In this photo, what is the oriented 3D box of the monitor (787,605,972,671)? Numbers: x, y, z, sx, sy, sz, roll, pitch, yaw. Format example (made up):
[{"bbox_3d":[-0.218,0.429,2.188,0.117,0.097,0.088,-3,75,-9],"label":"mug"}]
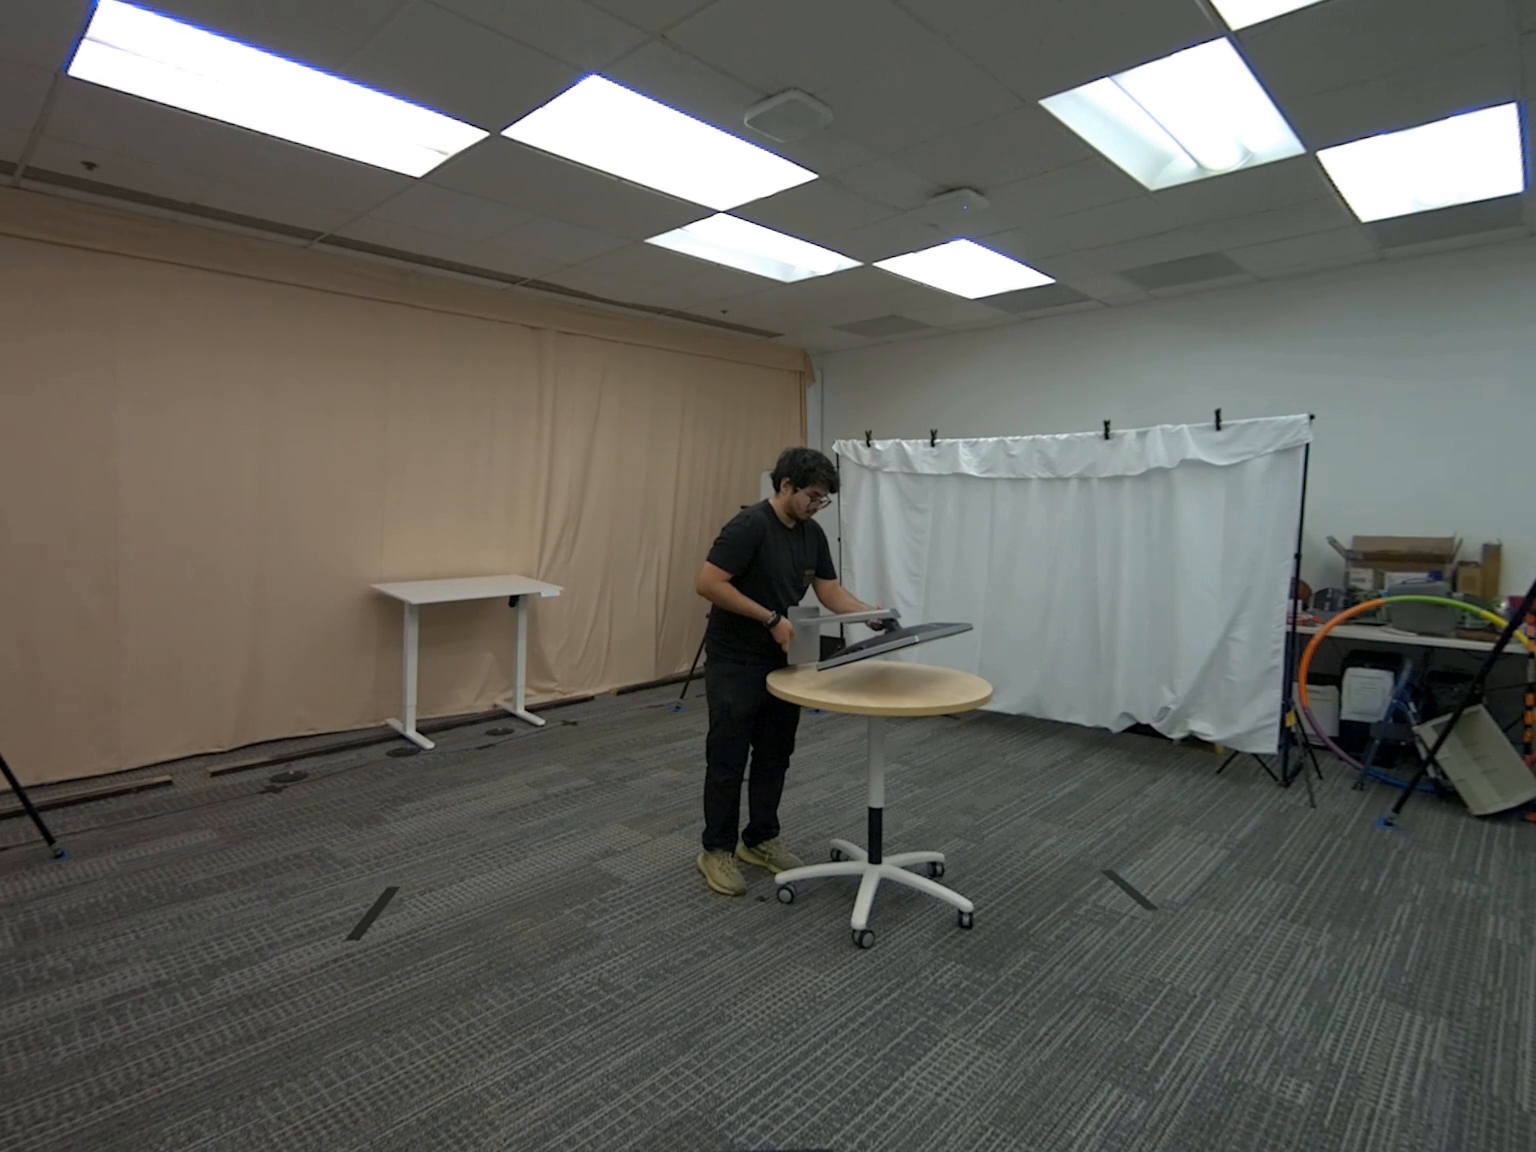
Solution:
[{"bbox_3d":[0.357,0.181,2.930,0.567,0.211,0.549,-13,-6,32],"label":"monitor"}]
